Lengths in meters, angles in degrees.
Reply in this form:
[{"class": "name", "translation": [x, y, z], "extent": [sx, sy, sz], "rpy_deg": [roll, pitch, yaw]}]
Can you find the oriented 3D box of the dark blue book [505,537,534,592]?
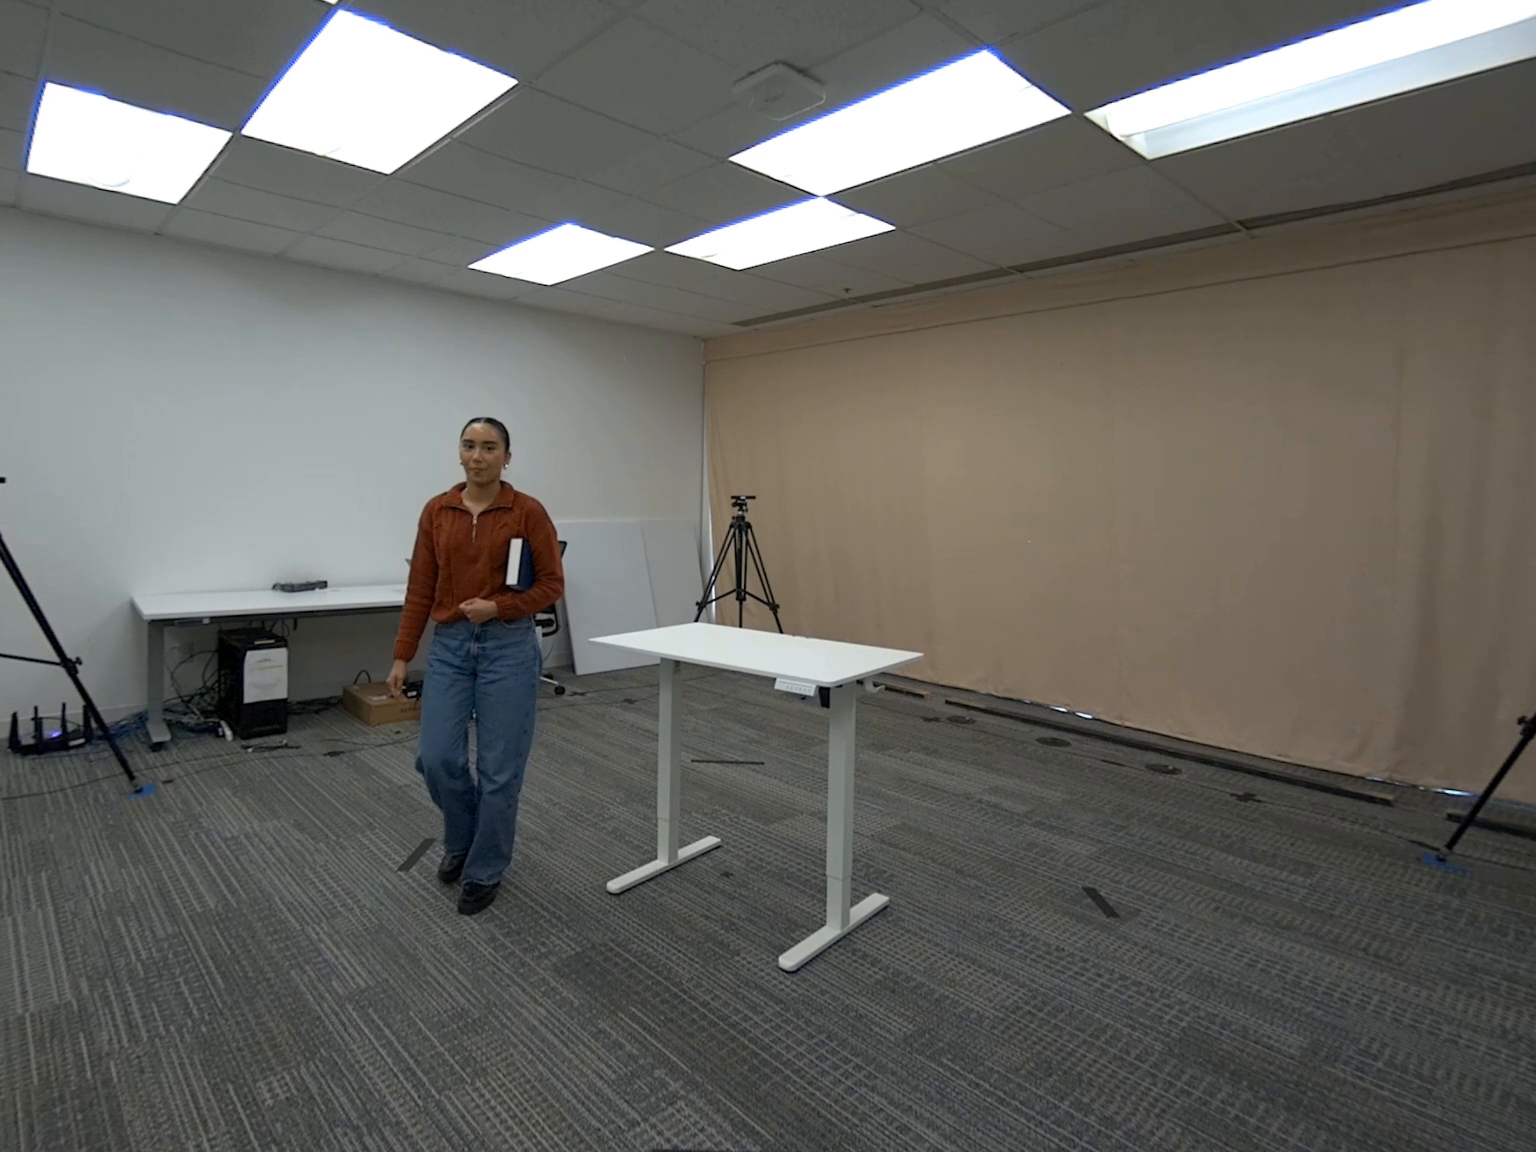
[{"class": "dark blue book", "translation": [-0.846, -0.034, 2.873], "extent": [0.045, 0.164, 0.243], "rpy_deg": [3, -9, -1]}]
